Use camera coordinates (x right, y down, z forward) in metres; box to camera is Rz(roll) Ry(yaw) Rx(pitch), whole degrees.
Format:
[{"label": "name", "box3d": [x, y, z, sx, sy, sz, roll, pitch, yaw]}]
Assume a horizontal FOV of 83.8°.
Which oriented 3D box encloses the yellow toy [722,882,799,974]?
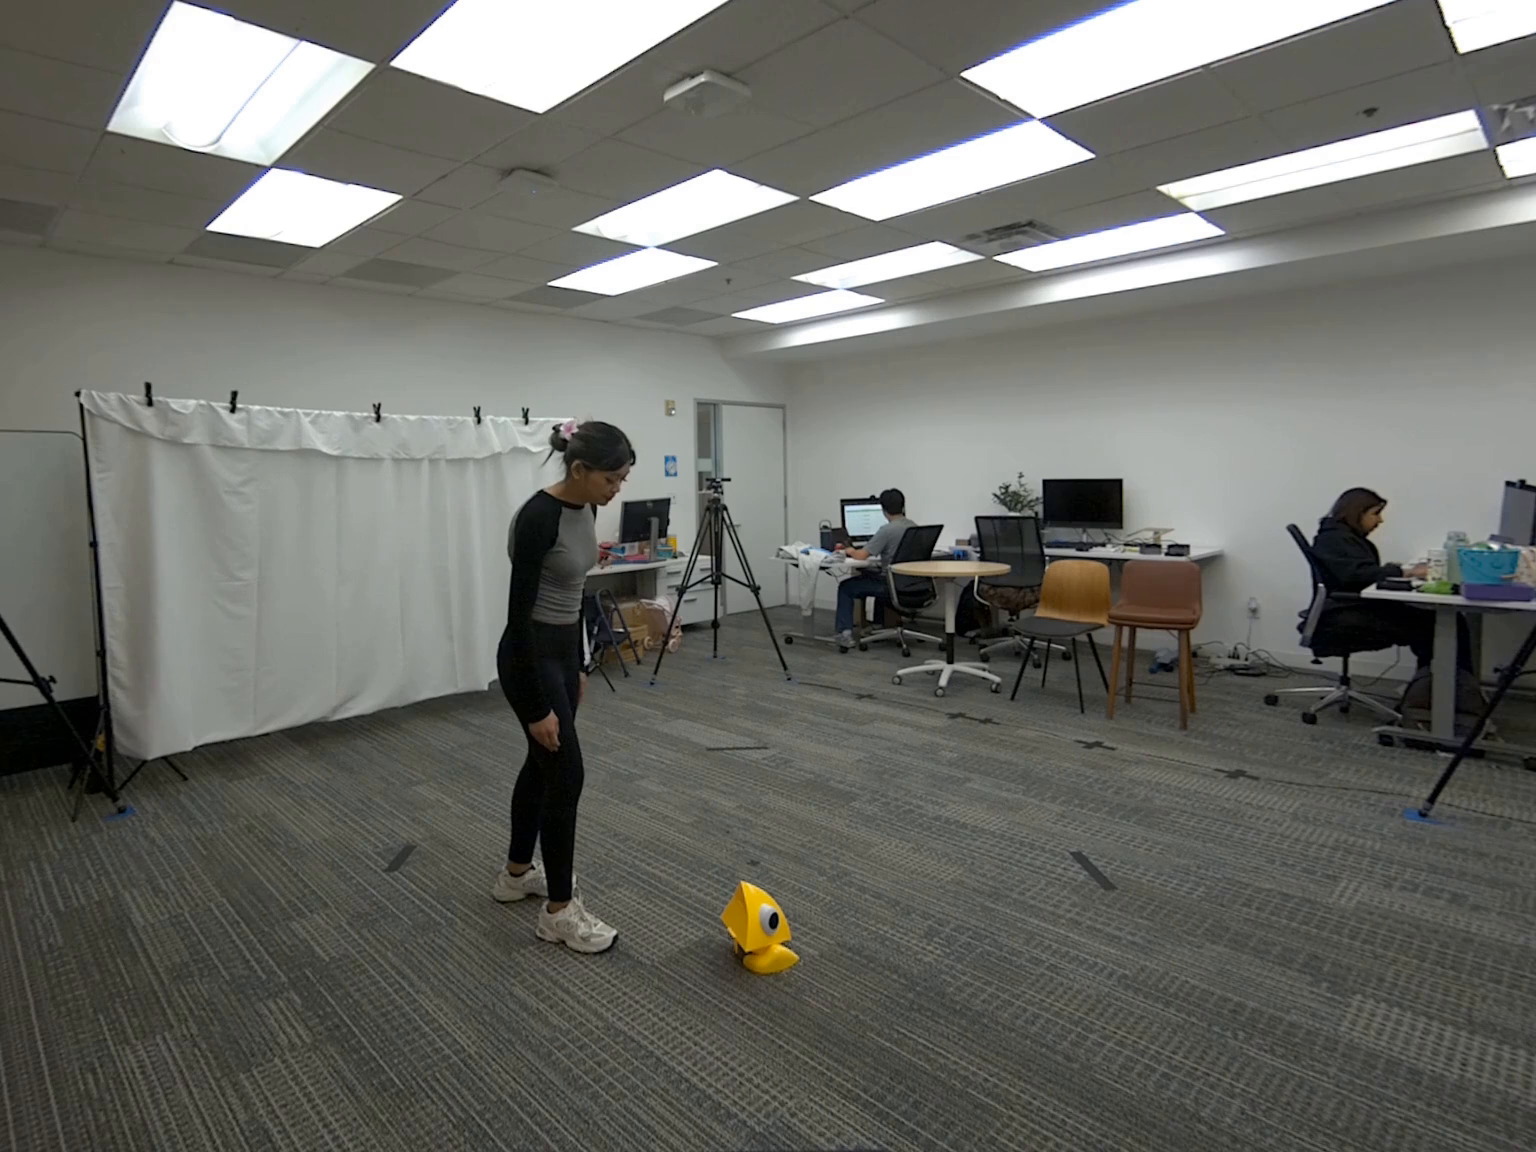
[{"label": "yellow toy", "box3d": [-0.018, 0.998, 2.504, 0.189, 0.230, 0.209, -4, 5, -21]}]
